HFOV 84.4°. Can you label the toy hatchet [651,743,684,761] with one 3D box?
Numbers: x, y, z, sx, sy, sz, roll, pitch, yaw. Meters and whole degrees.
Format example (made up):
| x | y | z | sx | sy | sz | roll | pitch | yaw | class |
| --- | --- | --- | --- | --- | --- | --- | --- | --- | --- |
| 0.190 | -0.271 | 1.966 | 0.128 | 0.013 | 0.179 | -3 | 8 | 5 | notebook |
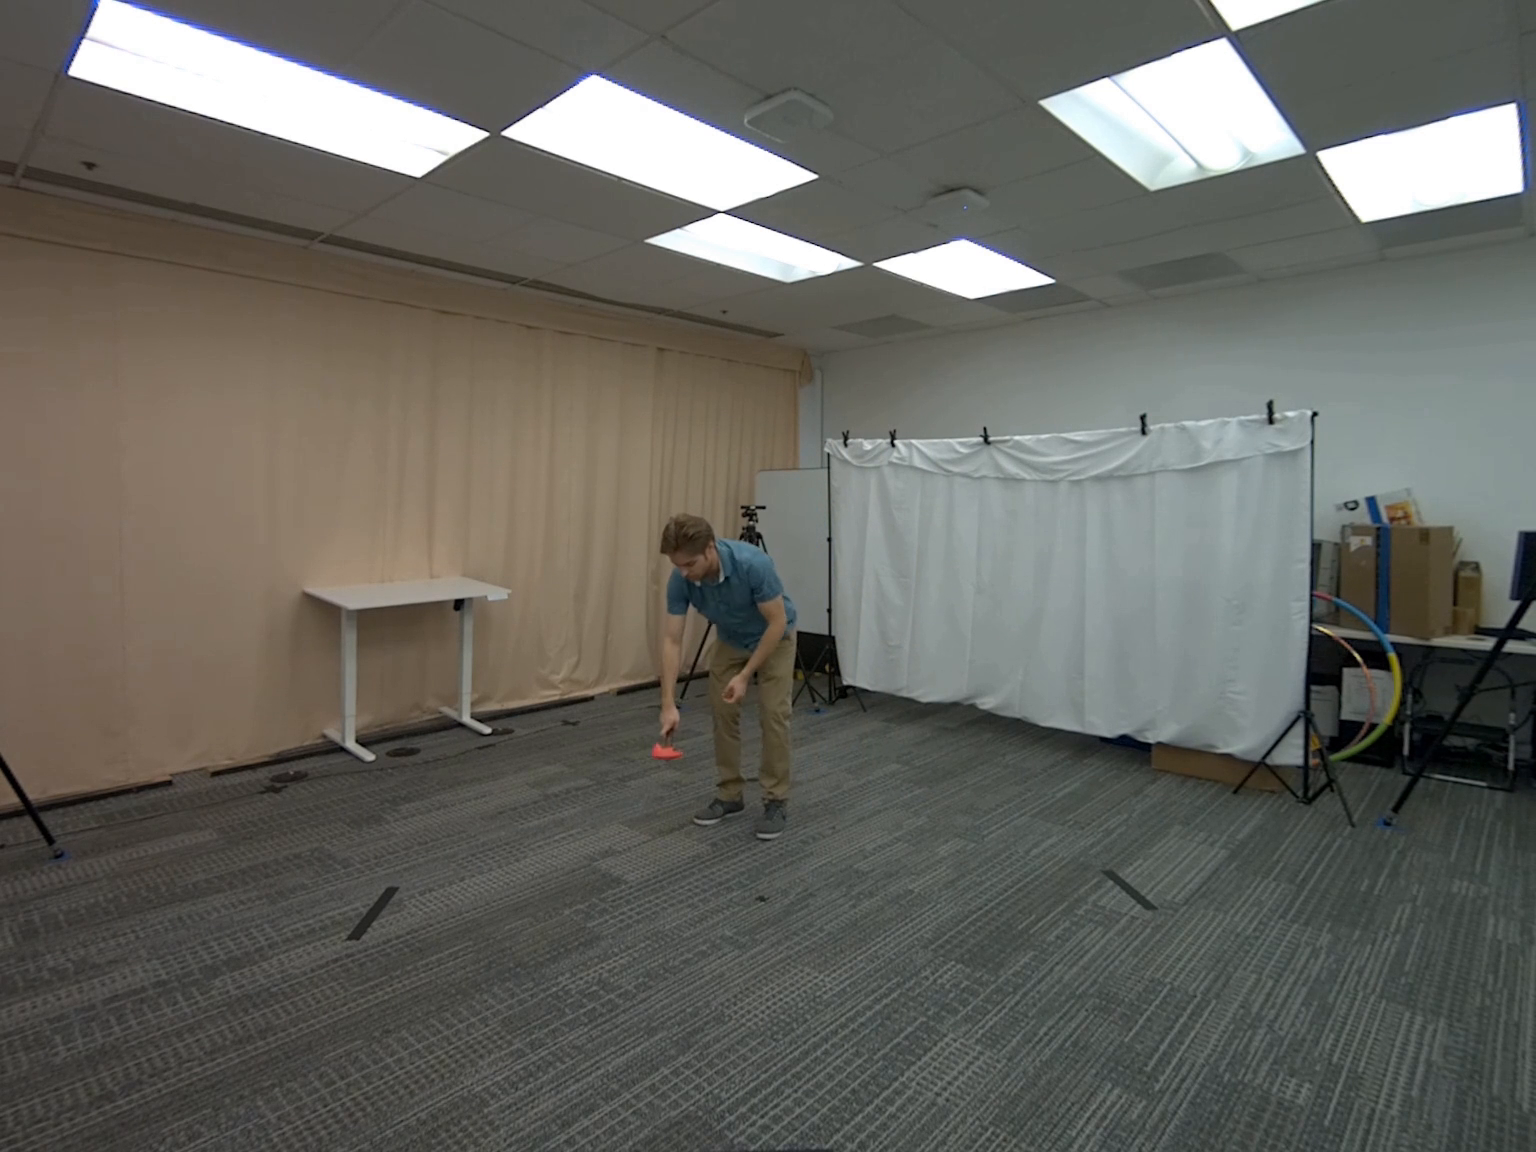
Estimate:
| x | y | z | sx | sy | sz | roll | pitch | yaw | class |
| --- | --- | --- | --- | --- | --- | --- | --- | --- | --- |
| -0.437 | 0.664 | 3.547 | 0.130 | 0.029 | 0.279 | -23 | 48 | -6 | toy hatchet |
